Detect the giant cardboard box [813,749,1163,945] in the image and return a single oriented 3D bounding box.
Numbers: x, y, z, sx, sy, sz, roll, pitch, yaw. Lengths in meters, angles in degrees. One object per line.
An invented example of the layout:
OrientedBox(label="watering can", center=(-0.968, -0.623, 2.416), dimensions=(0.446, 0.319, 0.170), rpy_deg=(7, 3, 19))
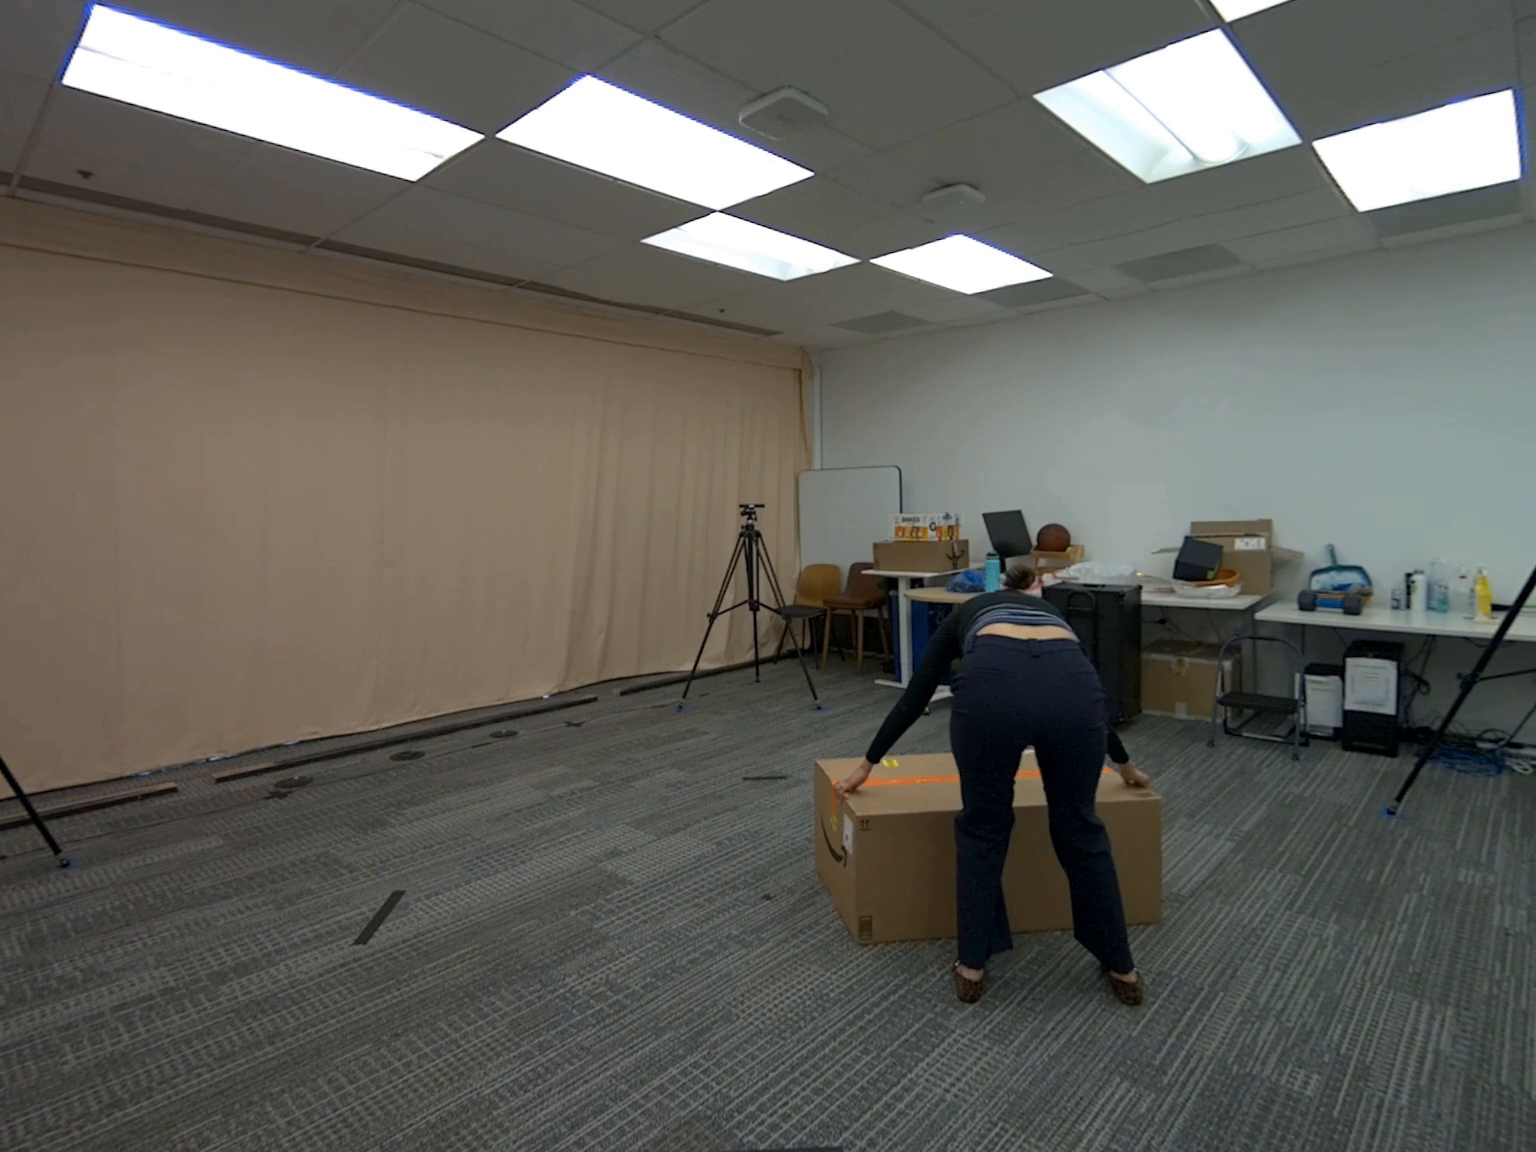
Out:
OrientedBox(label="giant cardboard box", center=(0.732, 0.913, 2.966), dimensions=(1.019, 0.425, 0.583), rpy_deg=(-2, 4, -7))
